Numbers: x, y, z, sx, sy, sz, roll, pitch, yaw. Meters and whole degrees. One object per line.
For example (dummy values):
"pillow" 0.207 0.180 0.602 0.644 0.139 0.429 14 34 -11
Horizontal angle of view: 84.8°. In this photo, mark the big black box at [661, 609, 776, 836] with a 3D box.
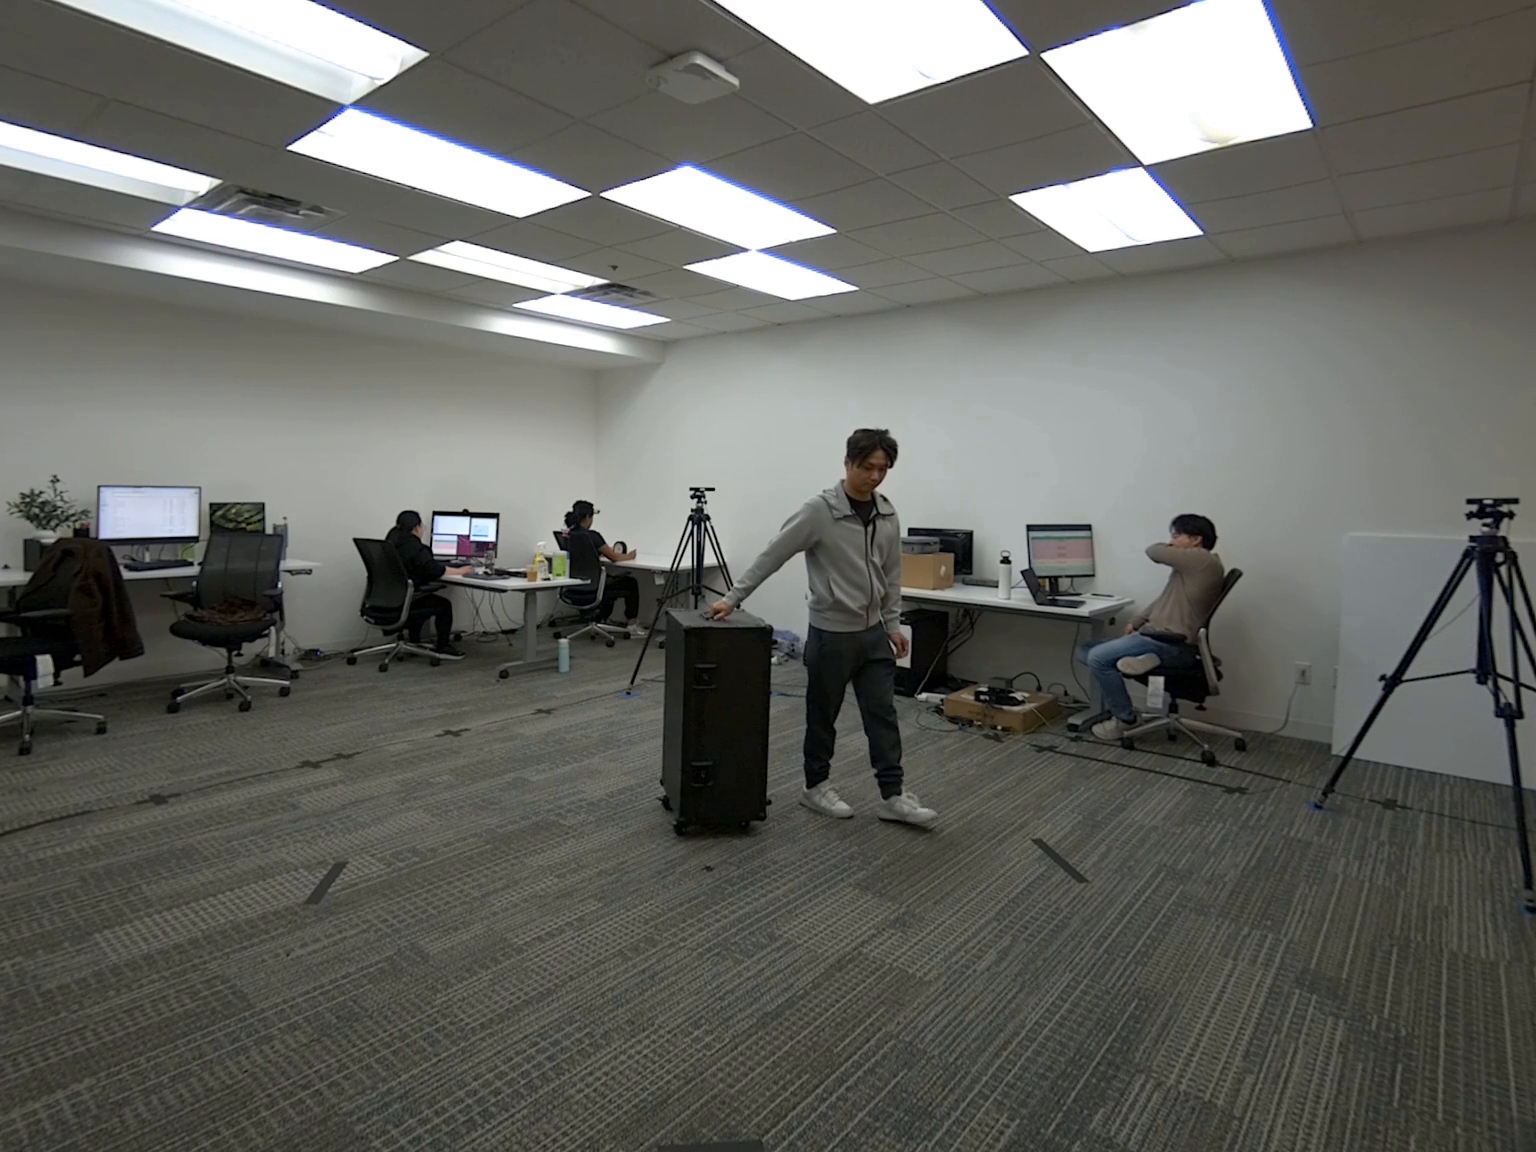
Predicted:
"big black box" -0.230 0.597 3.582 0.390 0.860 0.530 2 3 -15
